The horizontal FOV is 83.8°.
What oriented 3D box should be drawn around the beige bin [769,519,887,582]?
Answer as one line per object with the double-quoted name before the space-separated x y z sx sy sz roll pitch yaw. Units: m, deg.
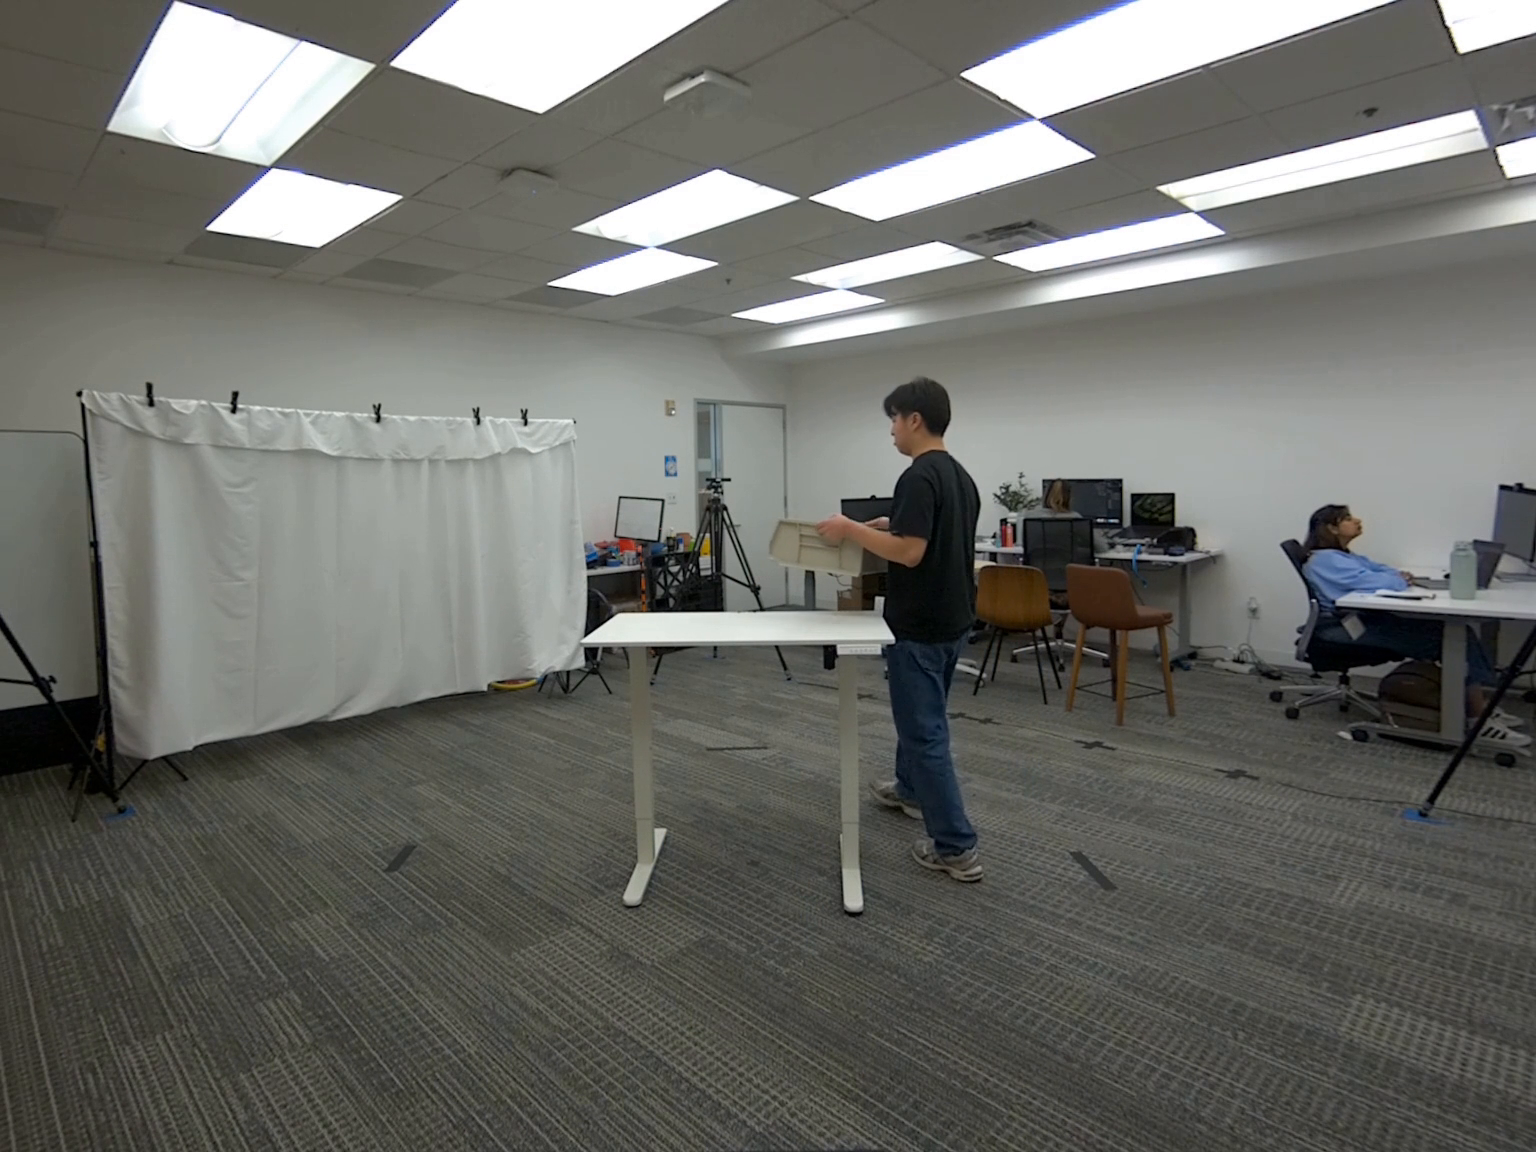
"beige bin" 0.264 -0.118 3.296 0.388 0.188 0.413 10 8 27
